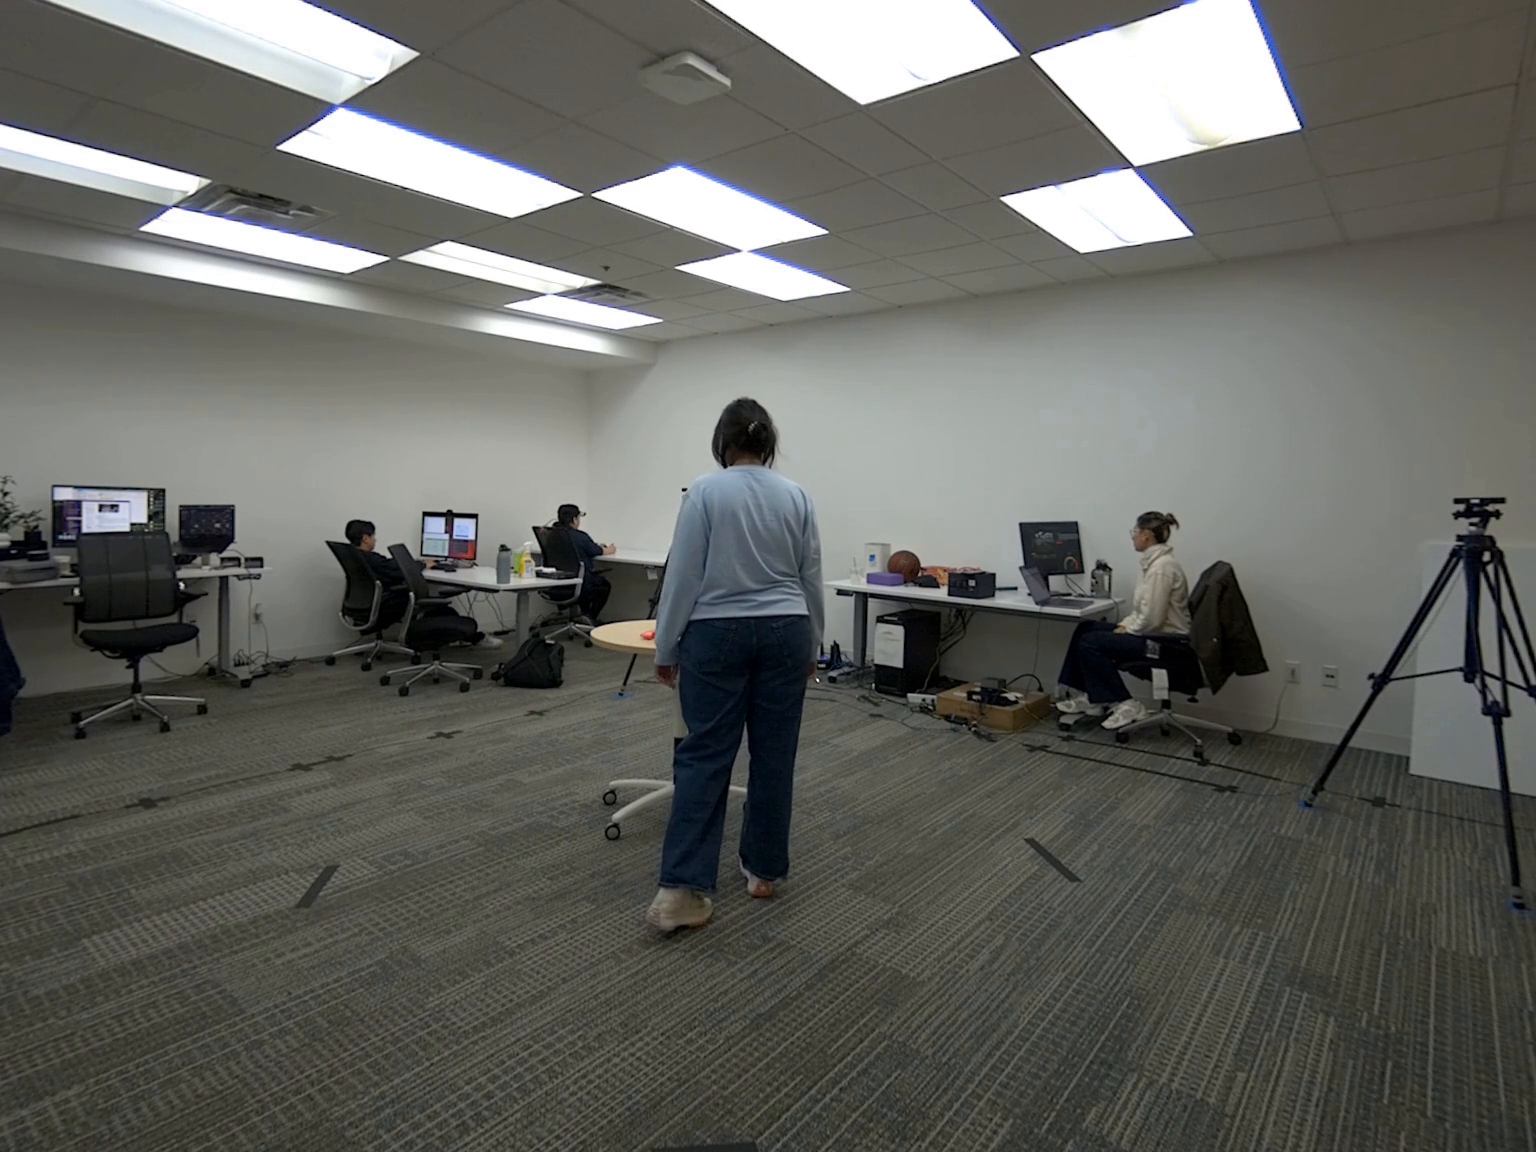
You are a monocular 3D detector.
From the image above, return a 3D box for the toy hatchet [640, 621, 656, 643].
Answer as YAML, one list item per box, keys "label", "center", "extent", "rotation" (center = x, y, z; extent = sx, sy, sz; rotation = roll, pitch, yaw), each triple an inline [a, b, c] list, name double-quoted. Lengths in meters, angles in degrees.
- label: "toy hatchet"
  center: [-0.445, 0.245, 3.345]
  extent: [0.129, 0.029, 0.276]
  rotation: [-1, 7, -17]
